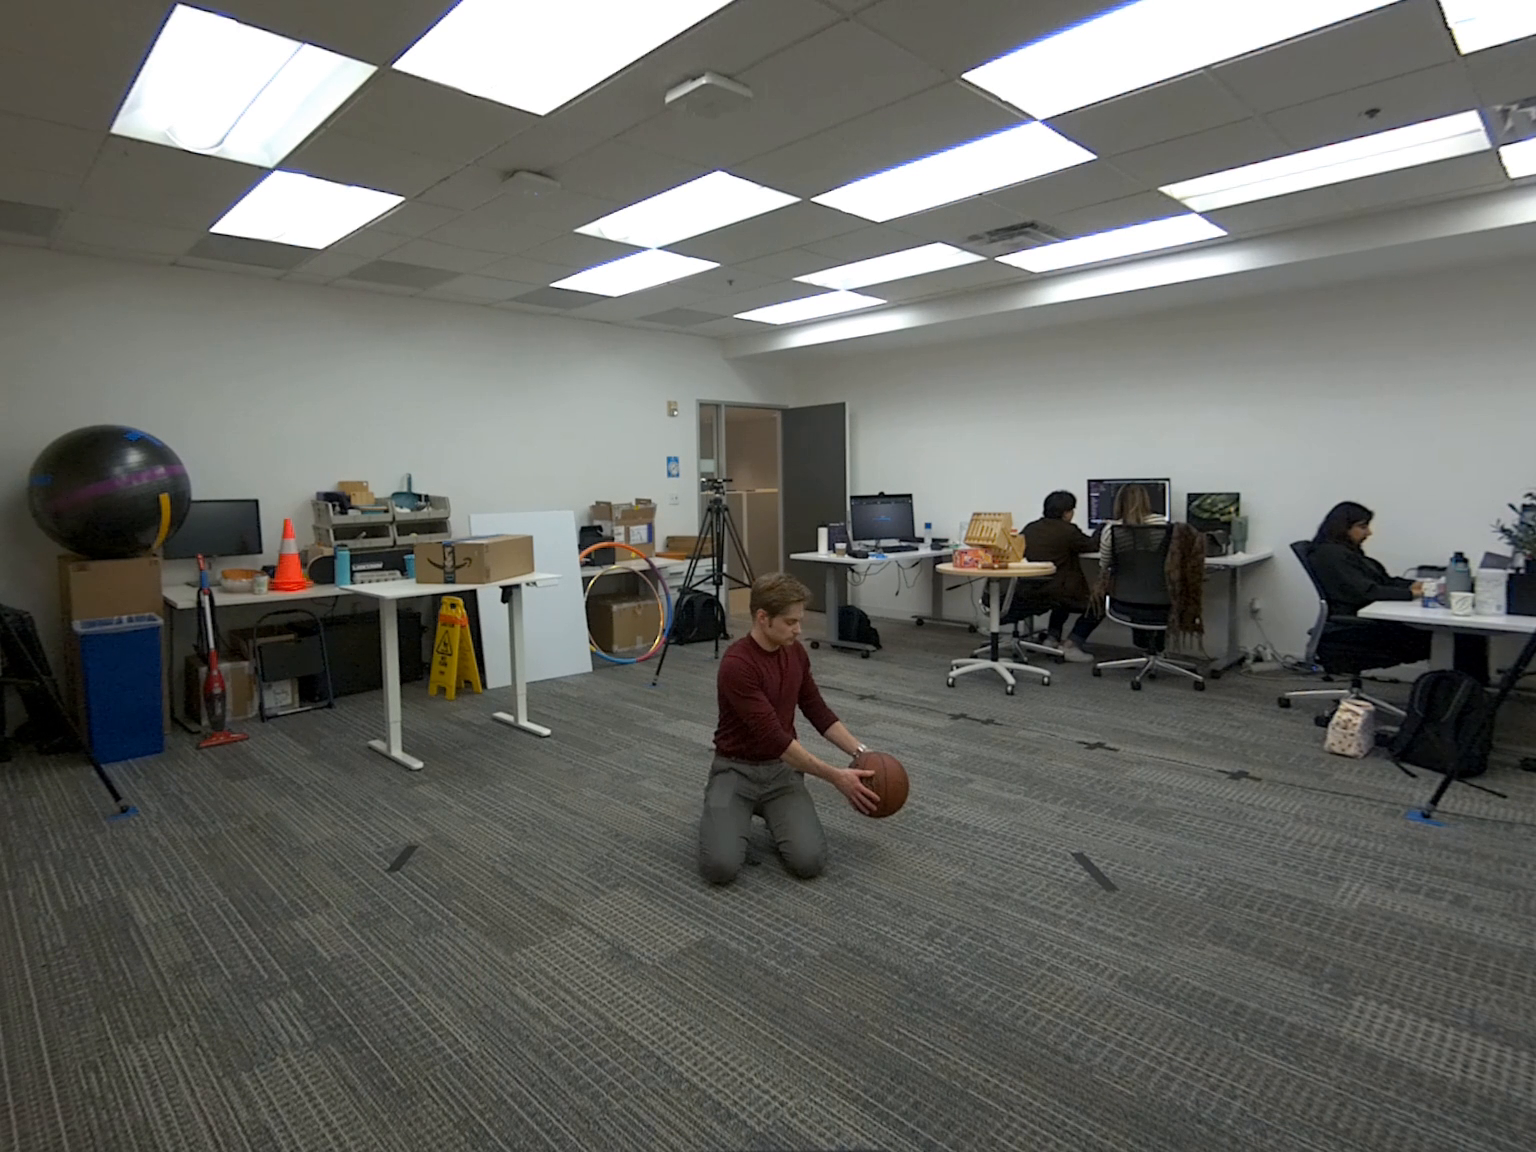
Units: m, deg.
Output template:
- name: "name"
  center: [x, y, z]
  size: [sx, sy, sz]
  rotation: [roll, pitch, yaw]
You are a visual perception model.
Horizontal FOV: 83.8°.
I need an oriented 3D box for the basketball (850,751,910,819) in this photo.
- name: "basketball"
  center: [0.389, 0.764, 3.169]
  size: [0.236, 0.235, 0.237]
  rotation: [-1, 5, -2]
